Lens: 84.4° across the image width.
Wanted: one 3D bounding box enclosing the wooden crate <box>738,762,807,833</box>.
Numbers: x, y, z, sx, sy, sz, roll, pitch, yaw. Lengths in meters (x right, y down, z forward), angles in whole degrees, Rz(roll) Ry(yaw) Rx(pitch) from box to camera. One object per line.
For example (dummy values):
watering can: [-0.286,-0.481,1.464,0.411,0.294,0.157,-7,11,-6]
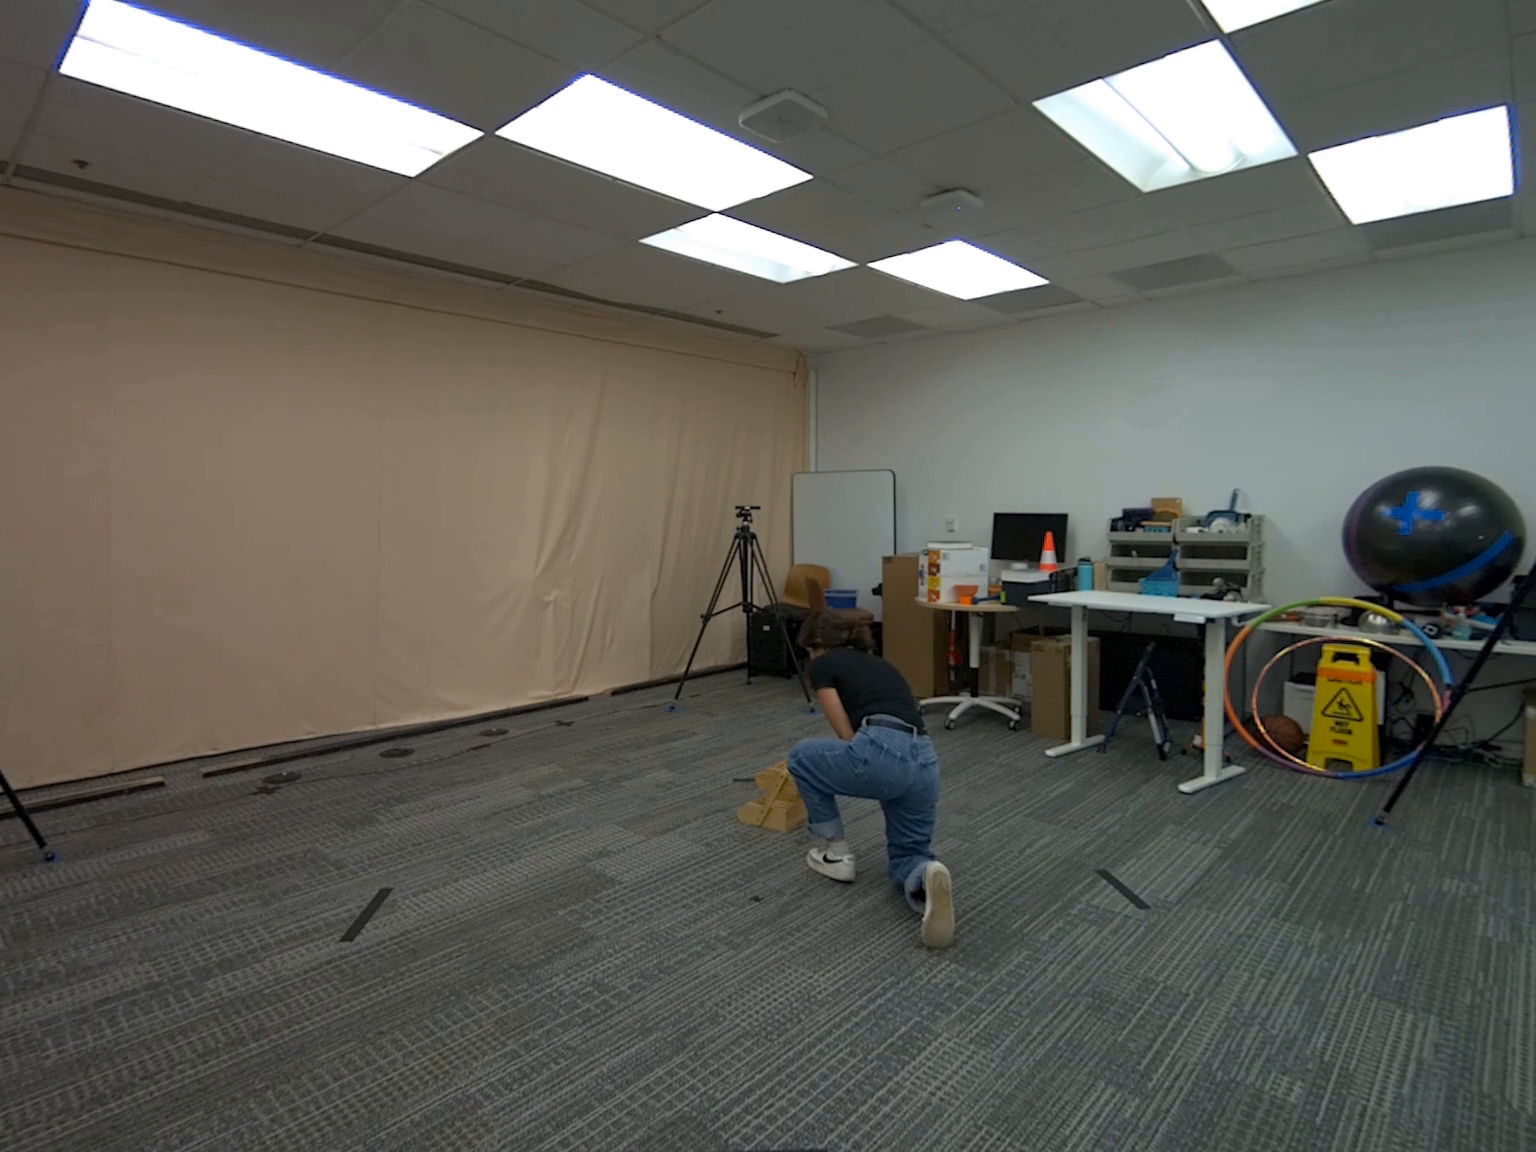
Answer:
wooden crate: [0.064,0.944,3.764,0.311,0.273,0.316,3,5,30]
